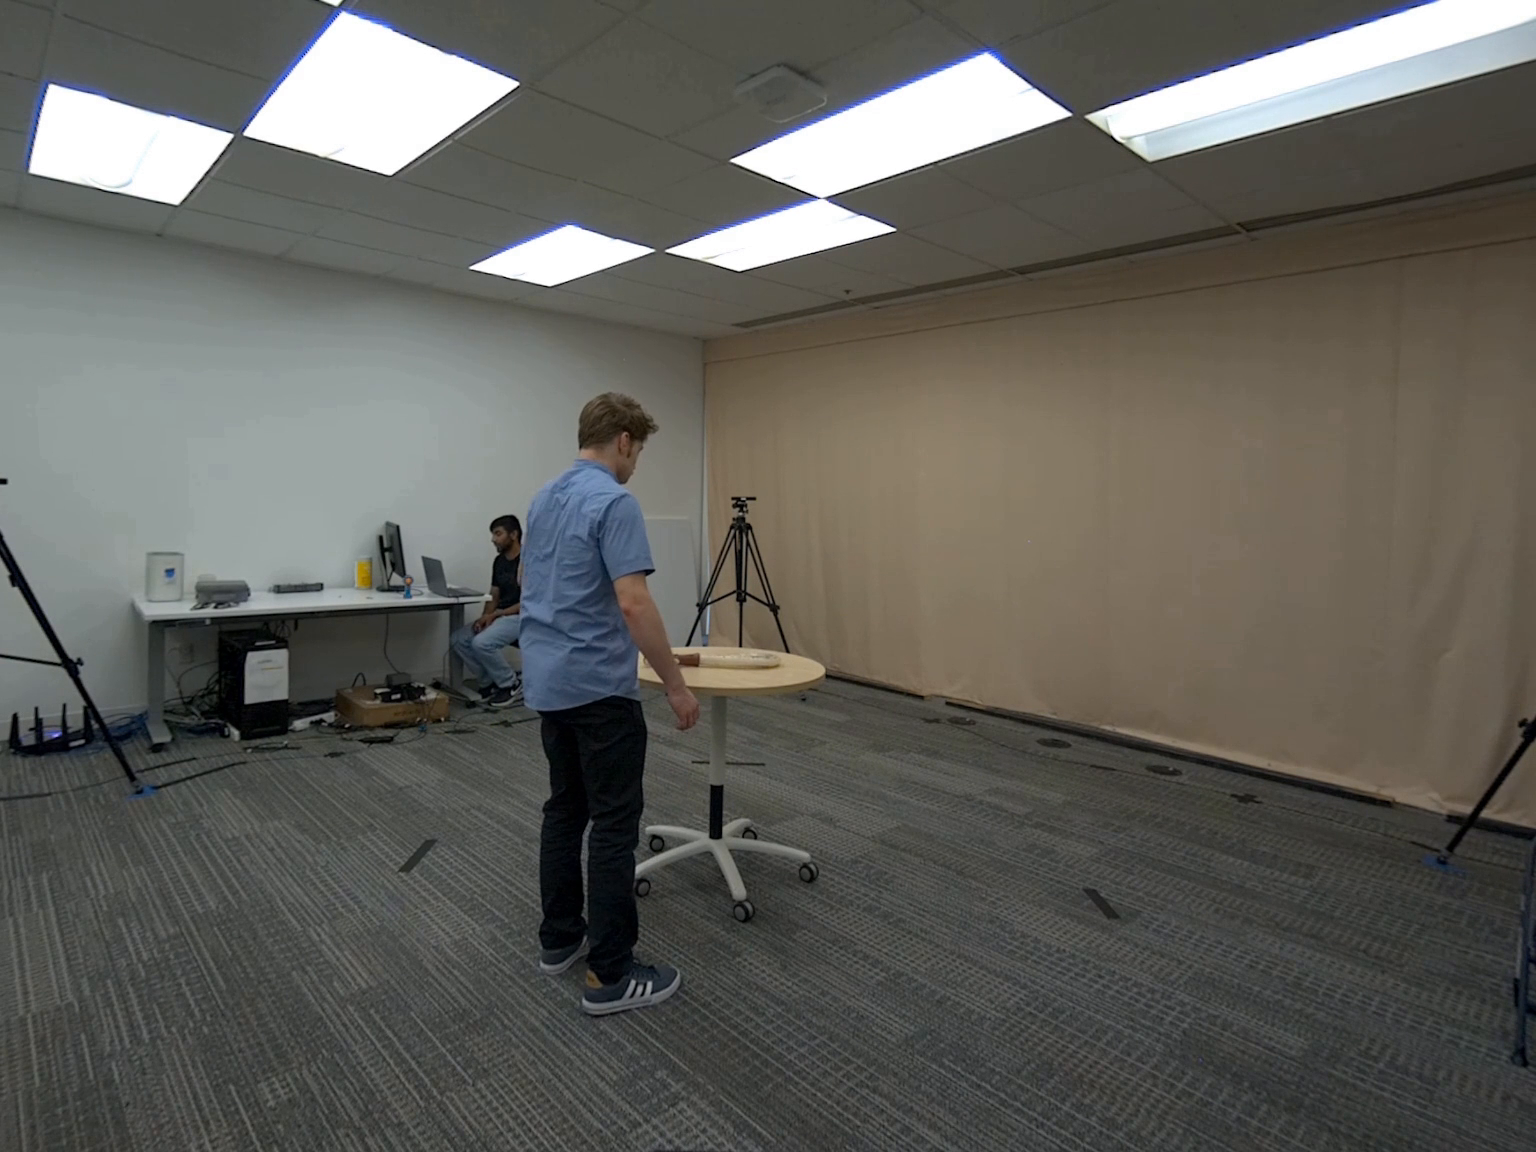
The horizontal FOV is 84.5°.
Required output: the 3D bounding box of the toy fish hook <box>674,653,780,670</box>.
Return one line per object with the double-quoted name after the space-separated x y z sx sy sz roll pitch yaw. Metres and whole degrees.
-0.208 0.311 3.089 0.503 0.048 0.225 2 -3 -8 "toy fish hook"
